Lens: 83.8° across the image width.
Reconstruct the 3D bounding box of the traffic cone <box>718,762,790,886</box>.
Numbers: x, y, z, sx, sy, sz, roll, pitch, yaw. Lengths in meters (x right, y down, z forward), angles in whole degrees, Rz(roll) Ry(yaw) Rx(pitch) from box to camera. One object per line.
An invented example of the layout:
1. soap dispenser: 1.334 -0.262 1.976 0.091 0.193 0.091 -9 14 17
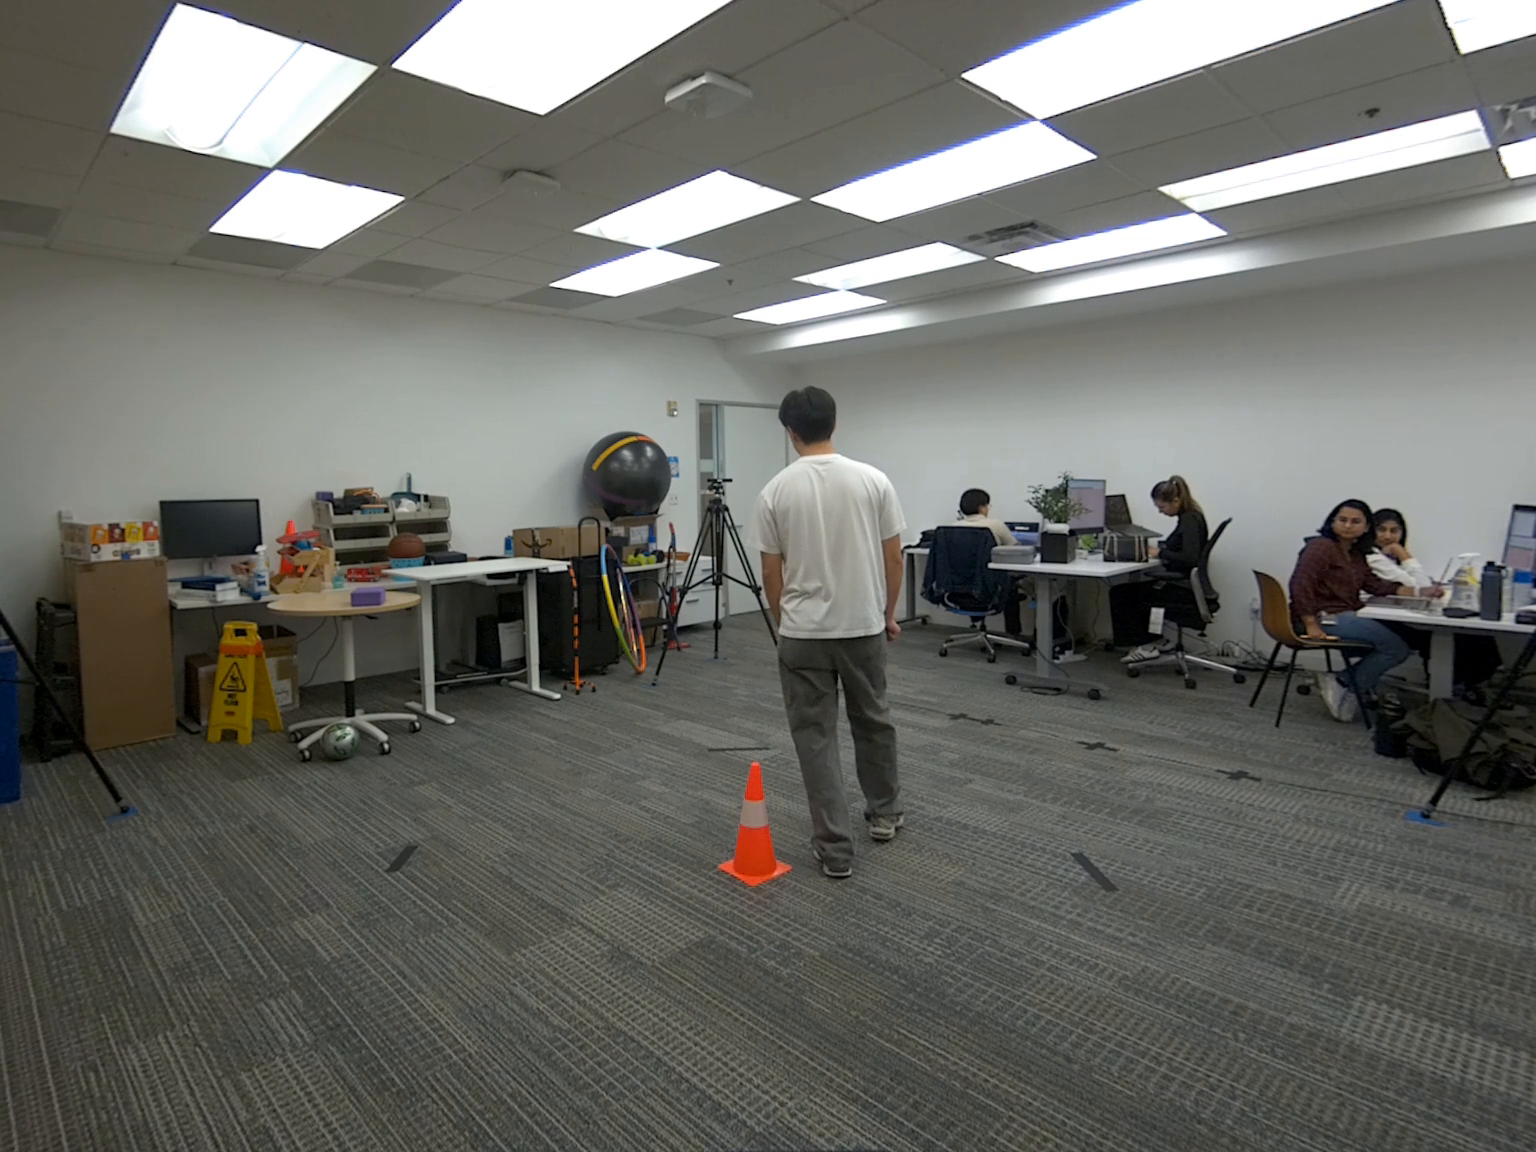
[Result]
1. traffic cone: -0.037 0.866 3.068 0.209 0.382 0.199 4 5 40
